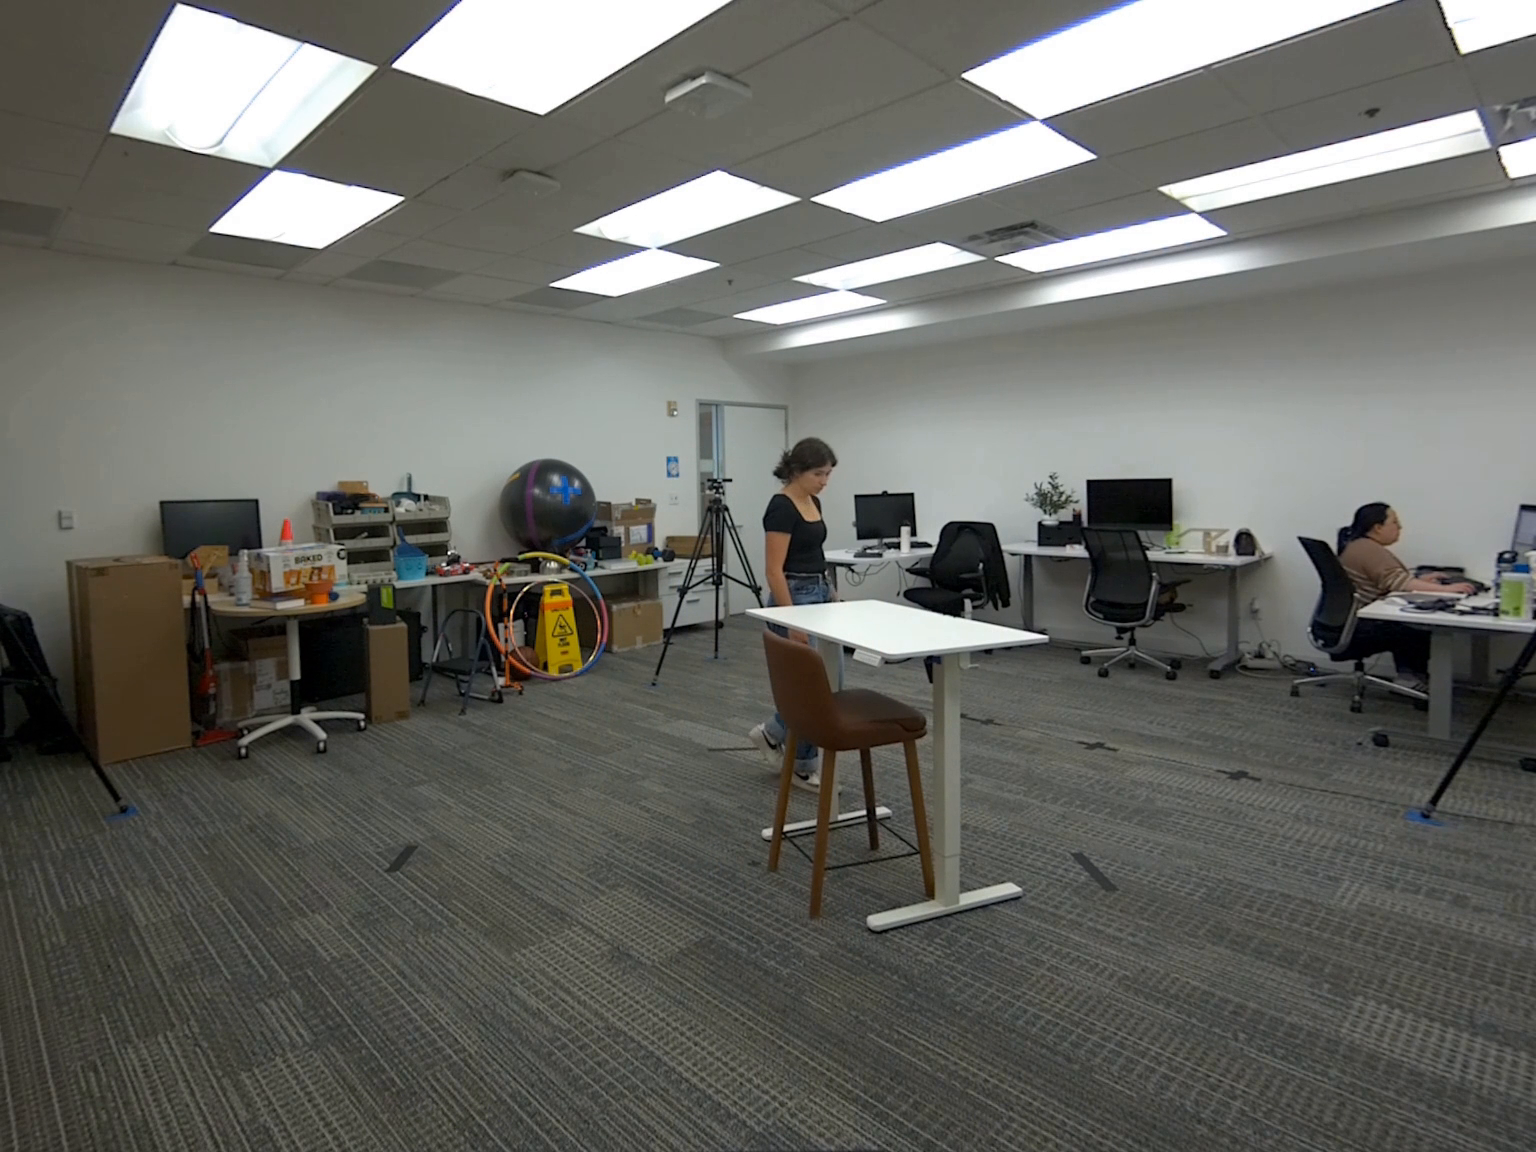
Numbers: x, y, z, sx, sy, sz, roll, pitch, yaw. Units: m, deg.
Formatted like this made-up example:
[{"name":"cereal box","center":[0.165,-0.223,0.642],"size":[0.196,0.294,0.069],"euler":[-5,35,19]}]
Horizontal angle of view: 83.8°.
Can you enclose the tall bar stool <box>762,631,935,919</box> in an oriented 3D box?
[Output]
[{"name":"tall bar stool","center":[0.265,0.633,2.933],"size":[0.459,0.886,0.466],"euler":[-4,5,-21]}]
